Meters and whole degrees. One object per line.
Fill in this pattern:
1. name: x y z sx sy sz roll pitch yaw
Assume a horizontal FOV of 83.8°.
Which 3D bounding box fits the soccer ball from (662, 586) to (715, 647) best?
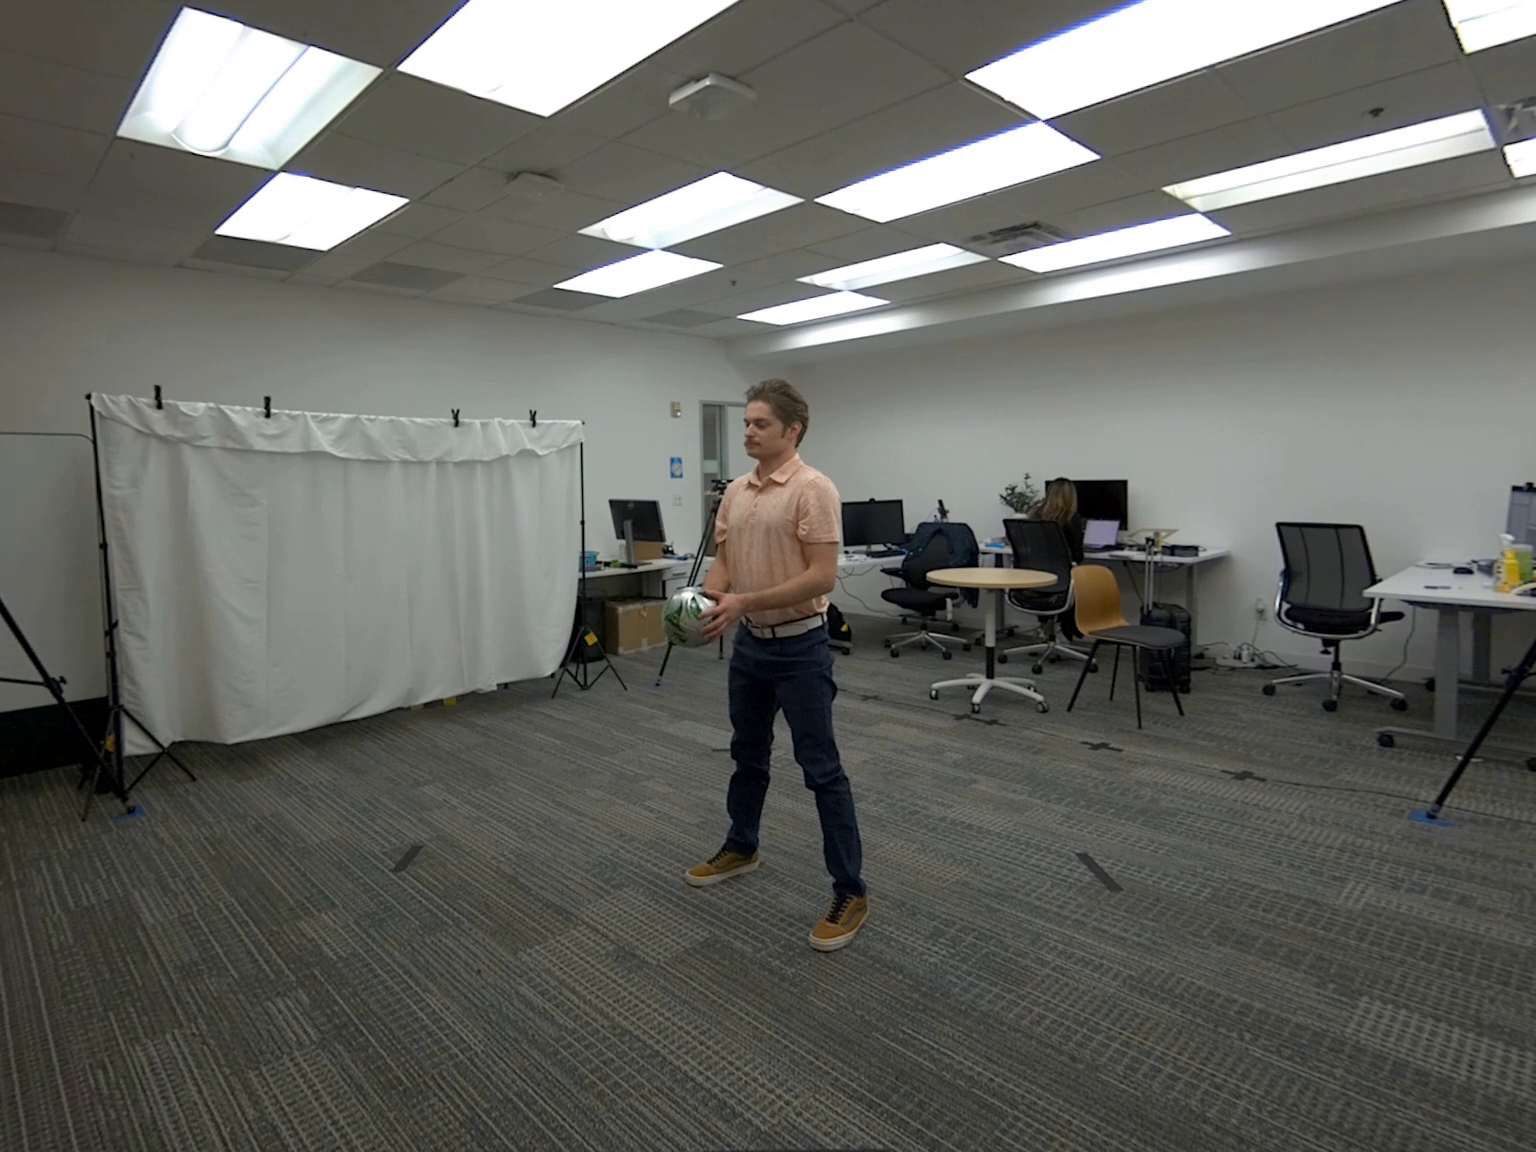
1. soccer ball: -0.228 0.119 2.572 0.187 0.187 0.188 -1 5 -2
